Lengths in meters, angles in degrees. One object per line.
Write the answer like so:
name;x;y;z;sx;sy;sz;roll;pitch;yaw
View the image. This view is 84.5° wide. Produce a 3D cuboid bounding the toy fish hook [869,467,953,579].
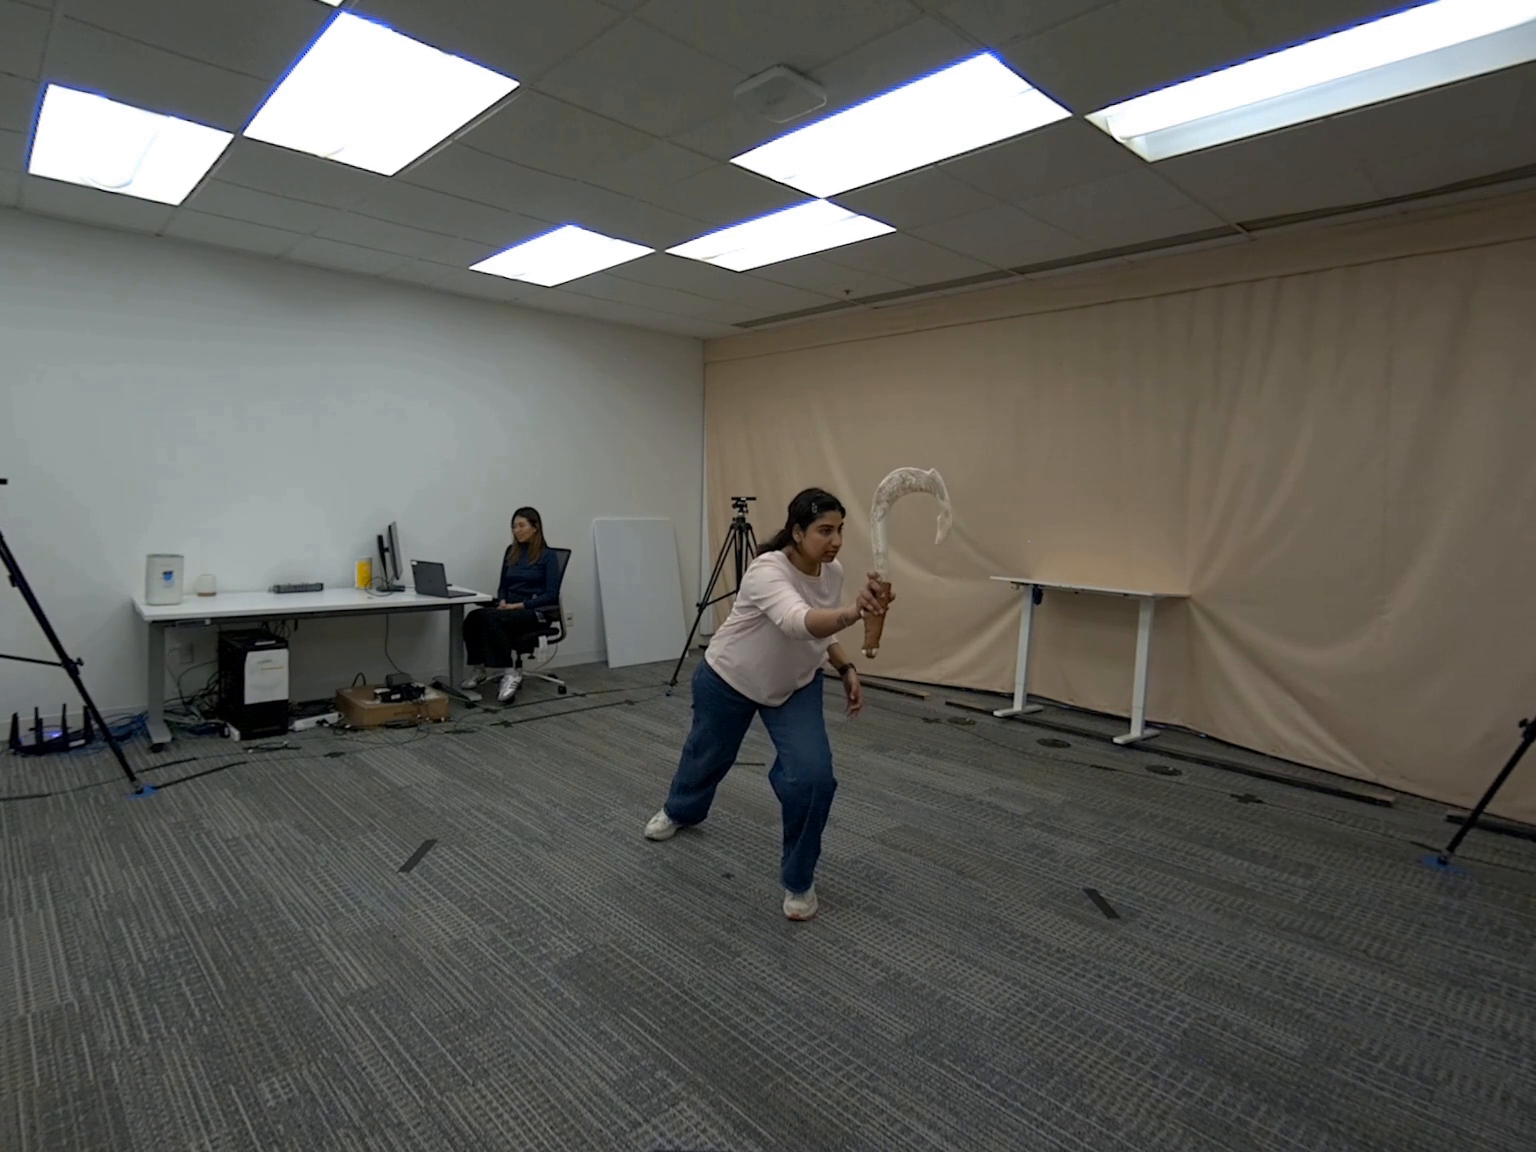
toy fish hook;0.344;-0.040;2.161;0.230;0.508;0.047;6;-5;37
